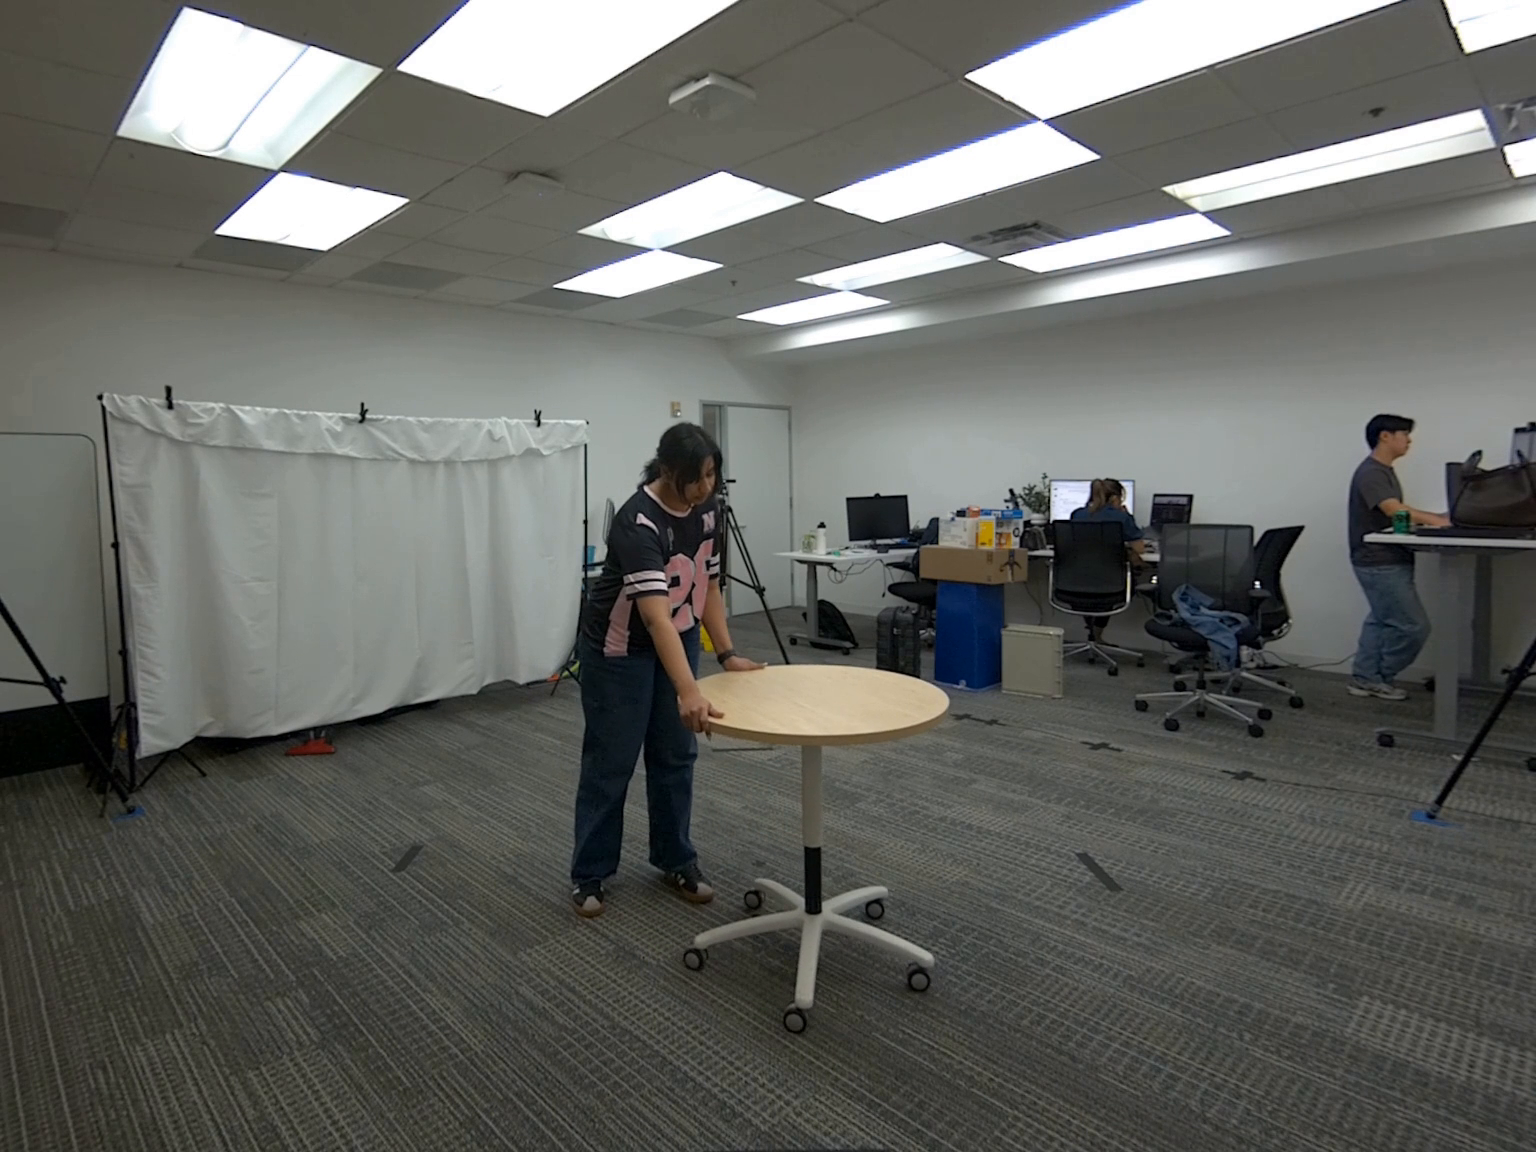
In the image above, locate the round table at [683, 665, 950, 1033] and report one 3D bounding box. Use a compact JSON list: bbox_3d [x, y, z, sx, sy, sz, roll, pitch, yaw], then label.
[{"bbox_3d":[0.120,0.724,2.473,0.784,0.783,0.789,-1,5,-2],"label":"round table"}]
